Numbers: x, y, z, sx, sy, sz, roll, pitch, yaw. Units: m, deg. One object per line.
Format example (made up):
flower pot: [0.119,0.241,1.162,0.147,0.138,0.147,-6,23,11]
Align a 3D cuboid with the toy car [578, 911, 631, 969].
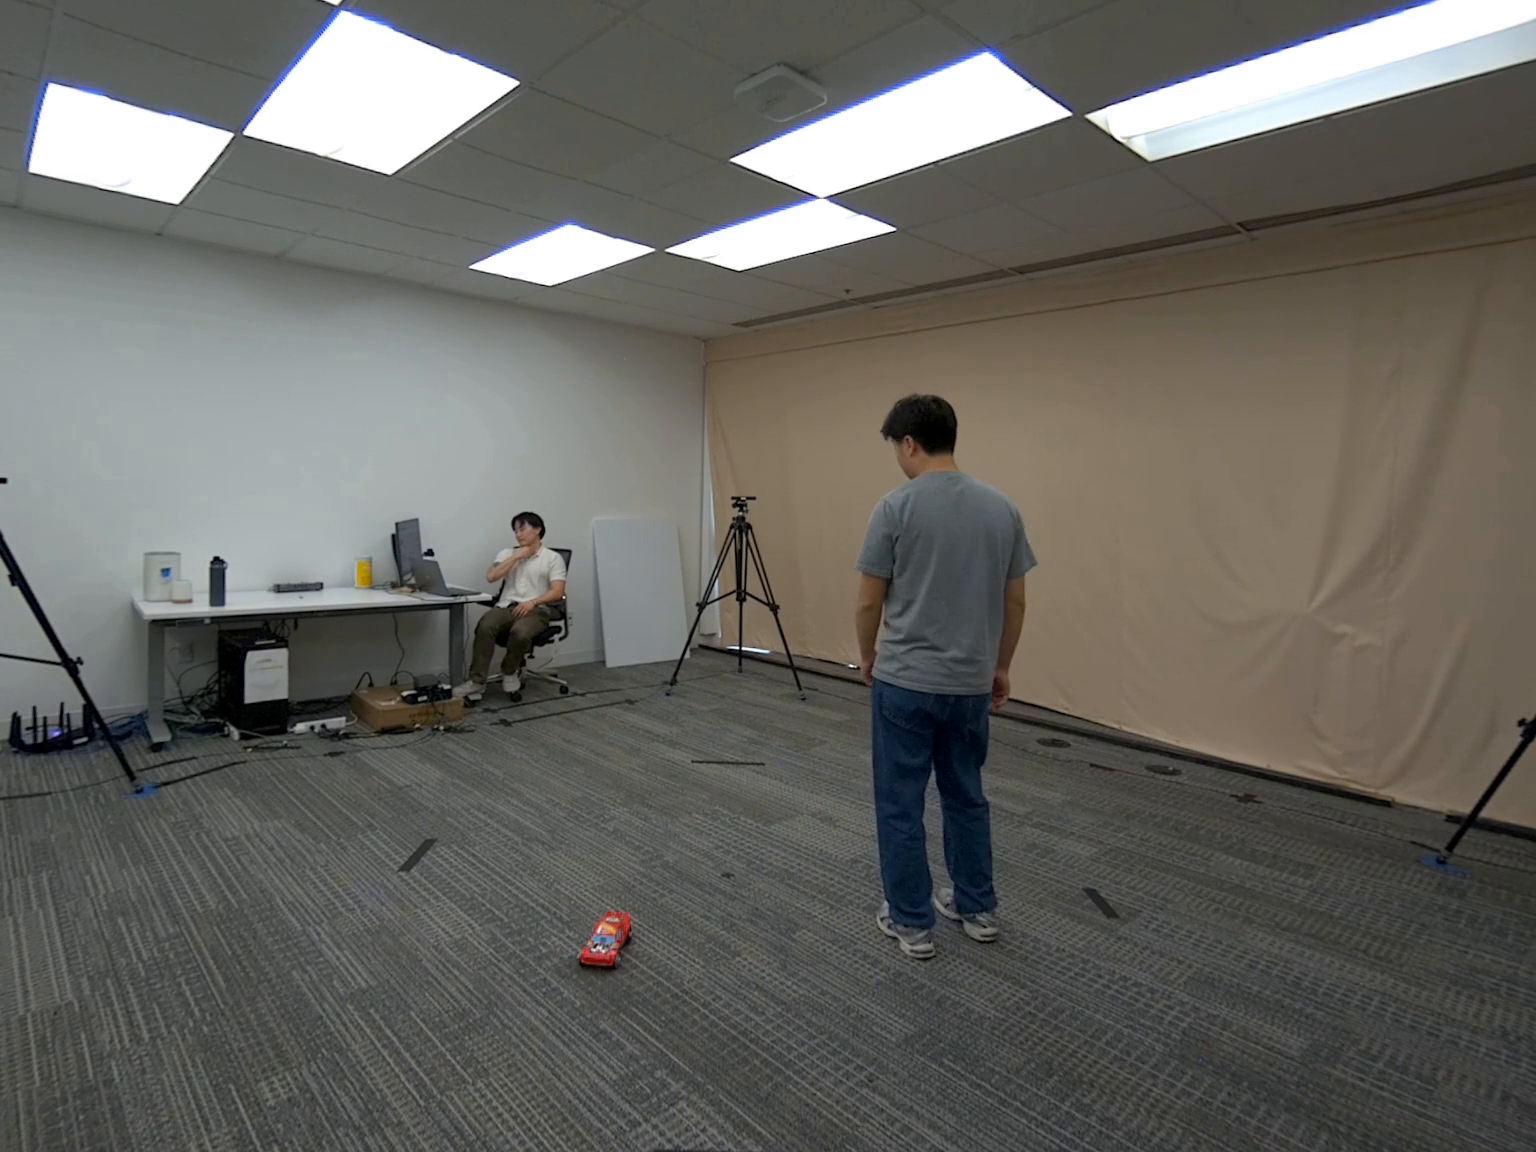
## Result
toy car: [-0.493,1.115,2.573,0.131,0.082,0.256,0,16,6]
